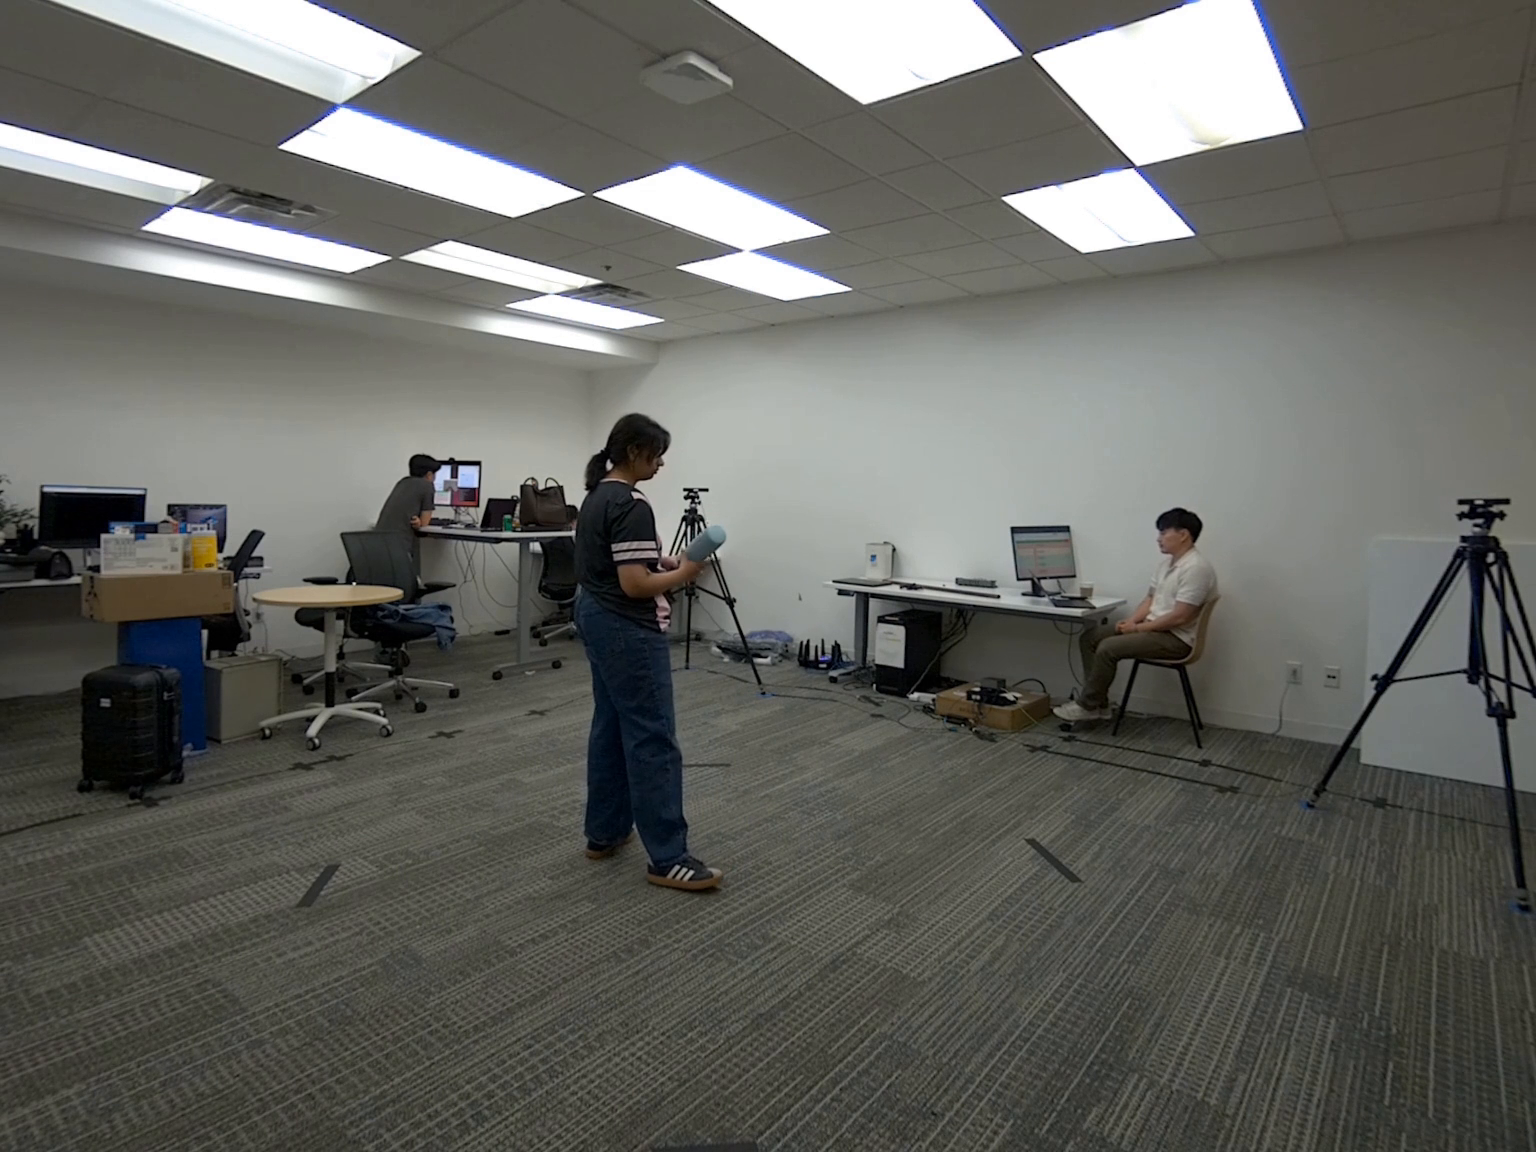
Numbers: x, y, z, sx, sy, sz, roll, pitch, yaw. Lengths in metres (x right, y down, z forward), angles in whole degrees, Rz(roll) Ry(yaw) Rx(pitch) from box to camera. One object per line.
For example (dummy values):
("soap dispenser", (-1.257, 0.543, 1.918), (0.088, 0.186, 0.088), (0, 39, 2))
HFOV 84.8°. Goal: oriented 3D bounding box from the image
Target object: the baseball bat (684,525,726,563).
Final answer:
("baseball bat", (-0.317, -0.054, 3.363), (0.087, 0.091, 0.543), (-1, -24, -29))
